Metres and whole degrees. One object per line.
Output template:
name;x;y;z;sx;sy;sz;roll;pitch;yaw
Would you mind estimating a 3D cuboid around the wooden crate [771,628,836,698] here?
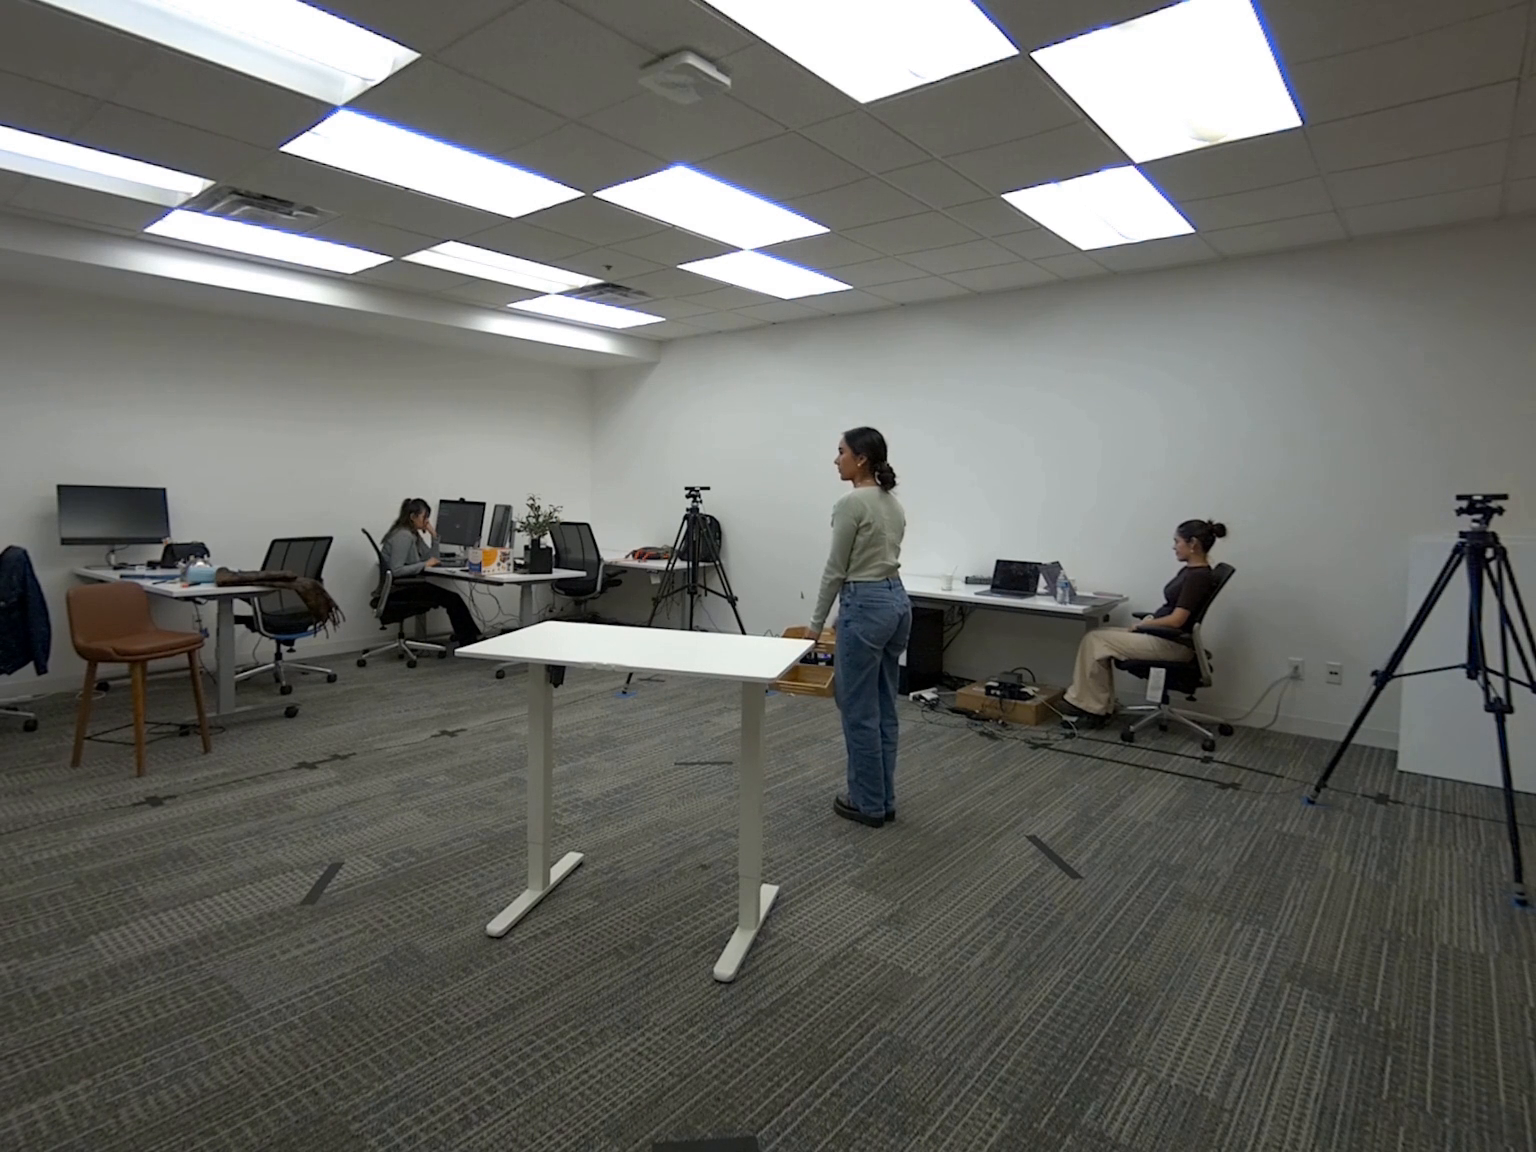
wooden crate;0.193;0.361;3.736;0.334;0.273;0.293;1;1;35
